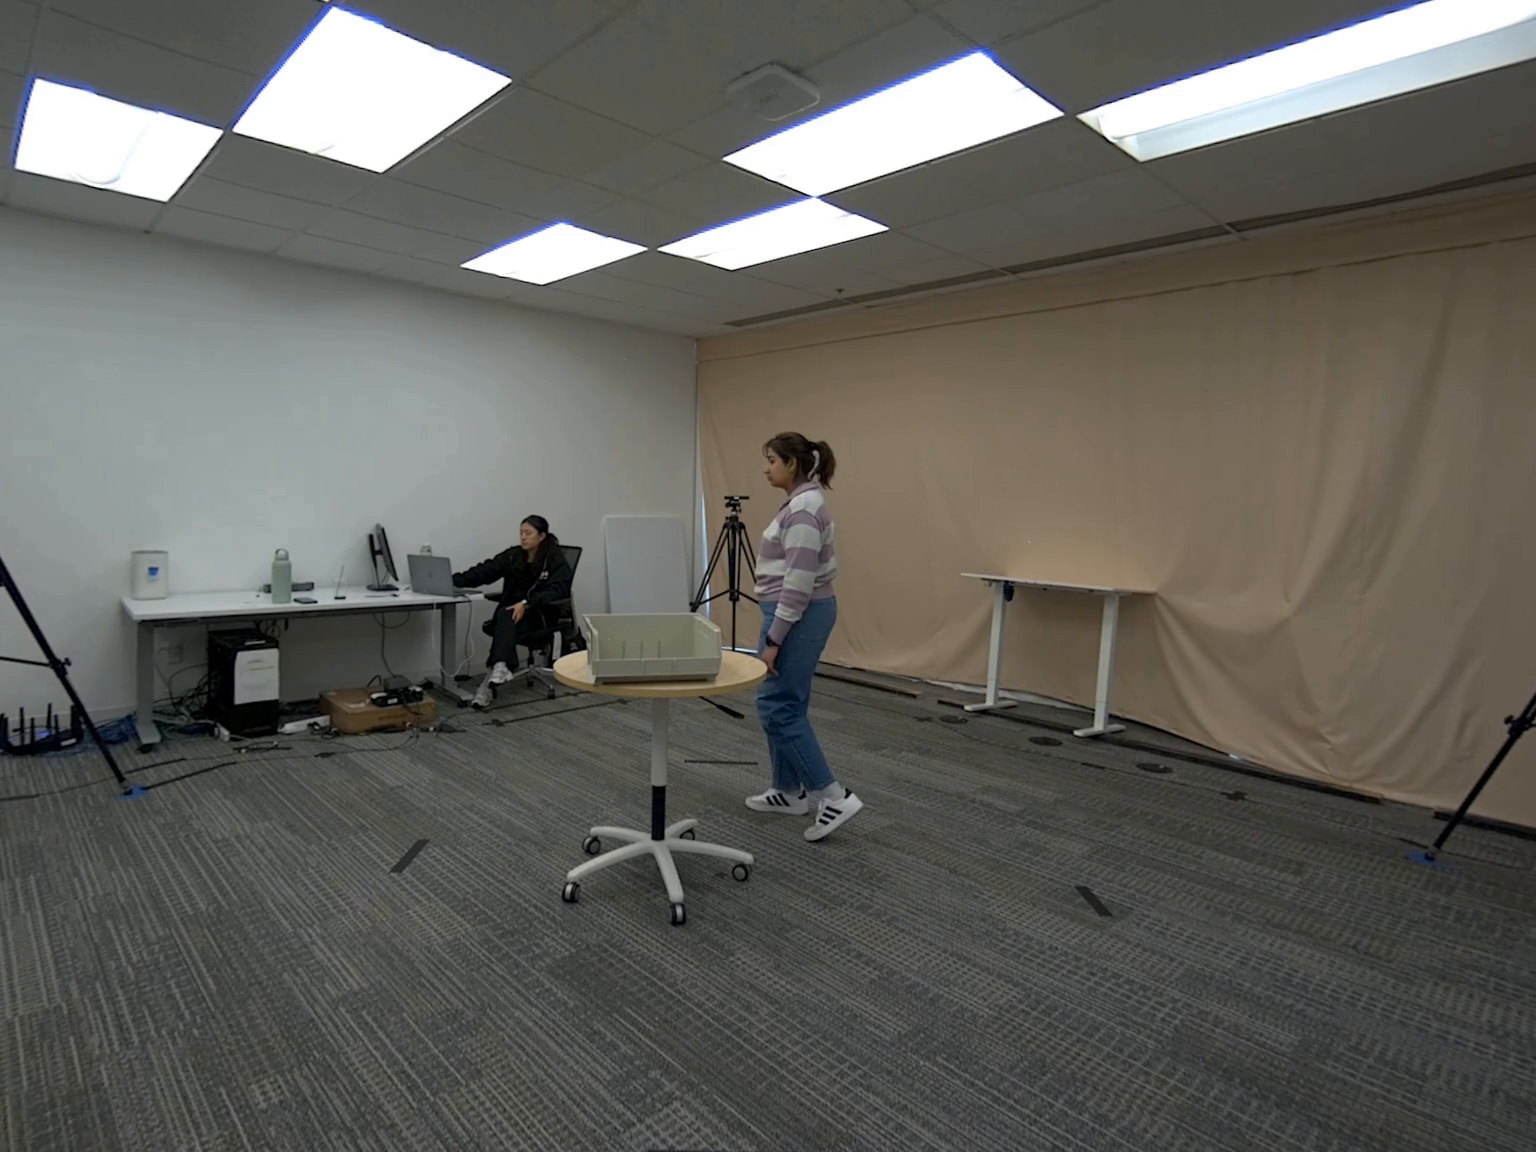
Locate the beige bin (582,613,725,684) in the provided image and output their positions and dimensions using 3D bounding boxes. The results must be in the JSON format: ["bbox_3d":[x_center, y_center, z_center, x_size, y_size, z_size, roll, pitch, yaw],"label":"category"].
[{"bbox_3d":[-0.409,0.251,2.866,0.417,0.188,0.383,0,5,-15],"label":"beige bin"}]
